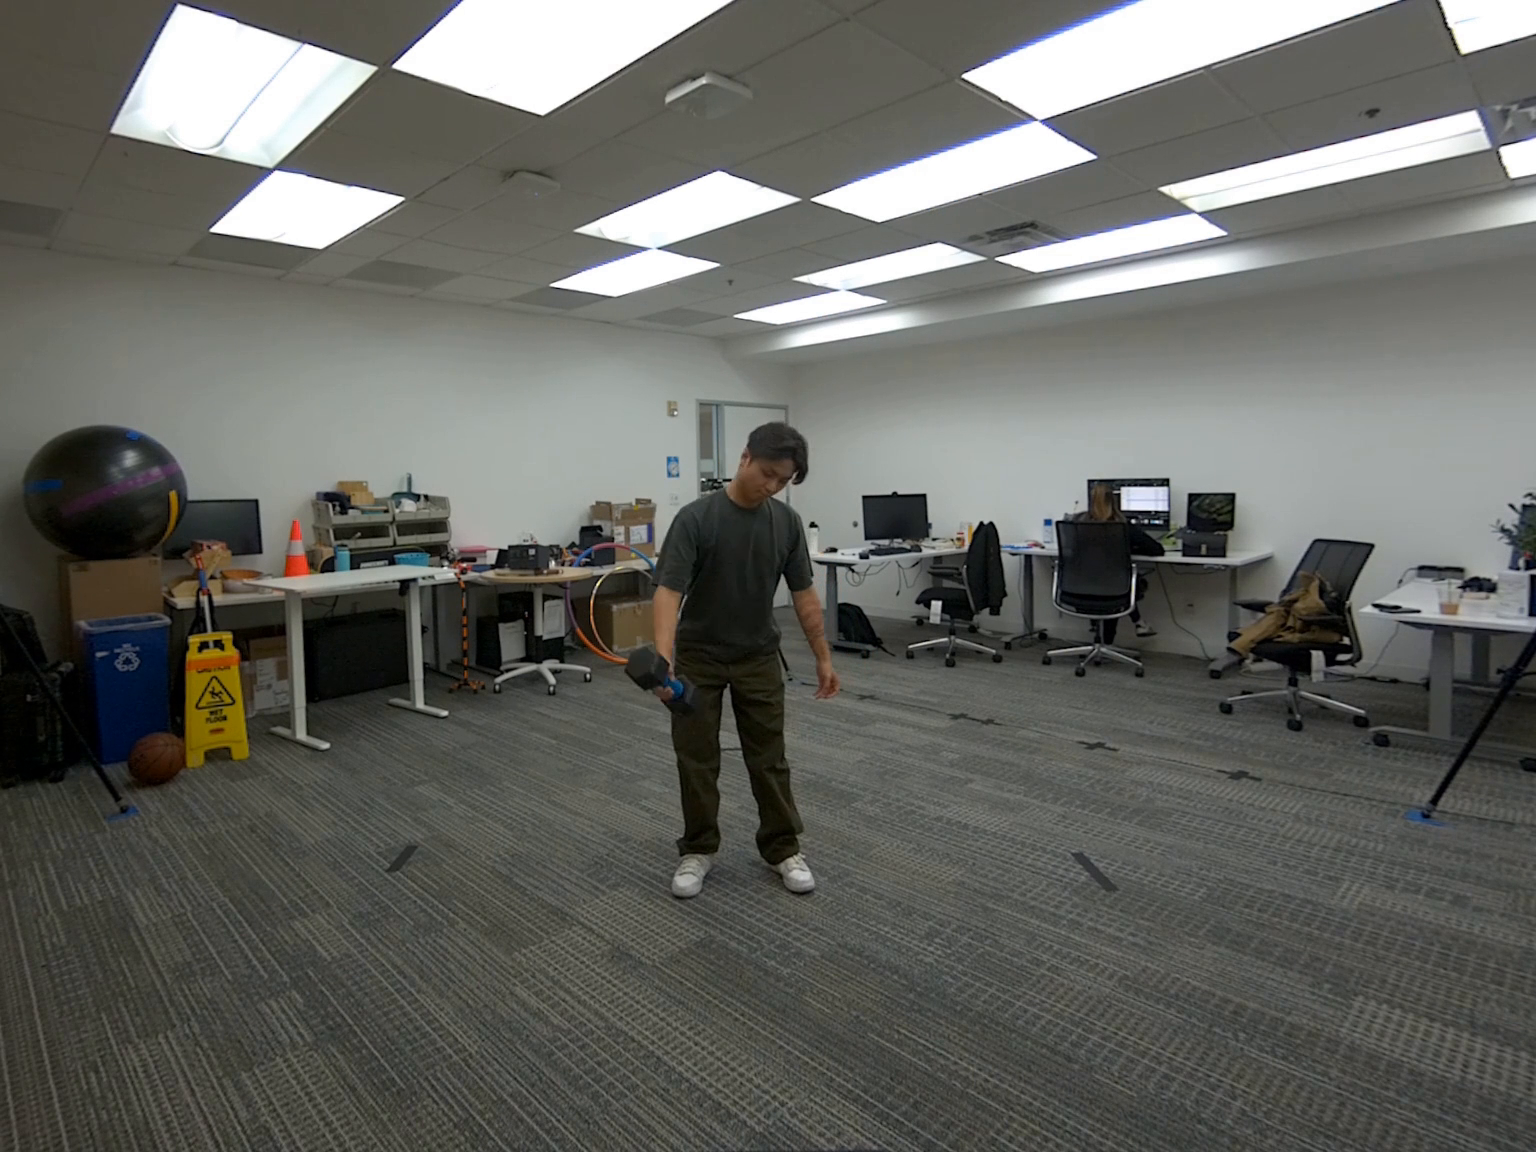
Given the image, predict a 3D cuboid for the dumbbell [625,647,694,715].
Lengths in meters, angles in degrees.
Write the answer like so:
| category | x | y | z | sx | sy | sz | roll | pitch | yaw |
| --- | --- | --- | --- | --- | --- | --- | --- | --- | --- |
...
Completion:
| category | x | y | z | sx | sy | sz | roll | pitch | yaw |
| --- | --- | --- | --- | --- | --- | --- | --- | --- | --- |
| dumbbell | -0.307 | 0.316 | 2.542 | 0.128 | 0.109 | 0.282 | 36 | -12 | 39 |
